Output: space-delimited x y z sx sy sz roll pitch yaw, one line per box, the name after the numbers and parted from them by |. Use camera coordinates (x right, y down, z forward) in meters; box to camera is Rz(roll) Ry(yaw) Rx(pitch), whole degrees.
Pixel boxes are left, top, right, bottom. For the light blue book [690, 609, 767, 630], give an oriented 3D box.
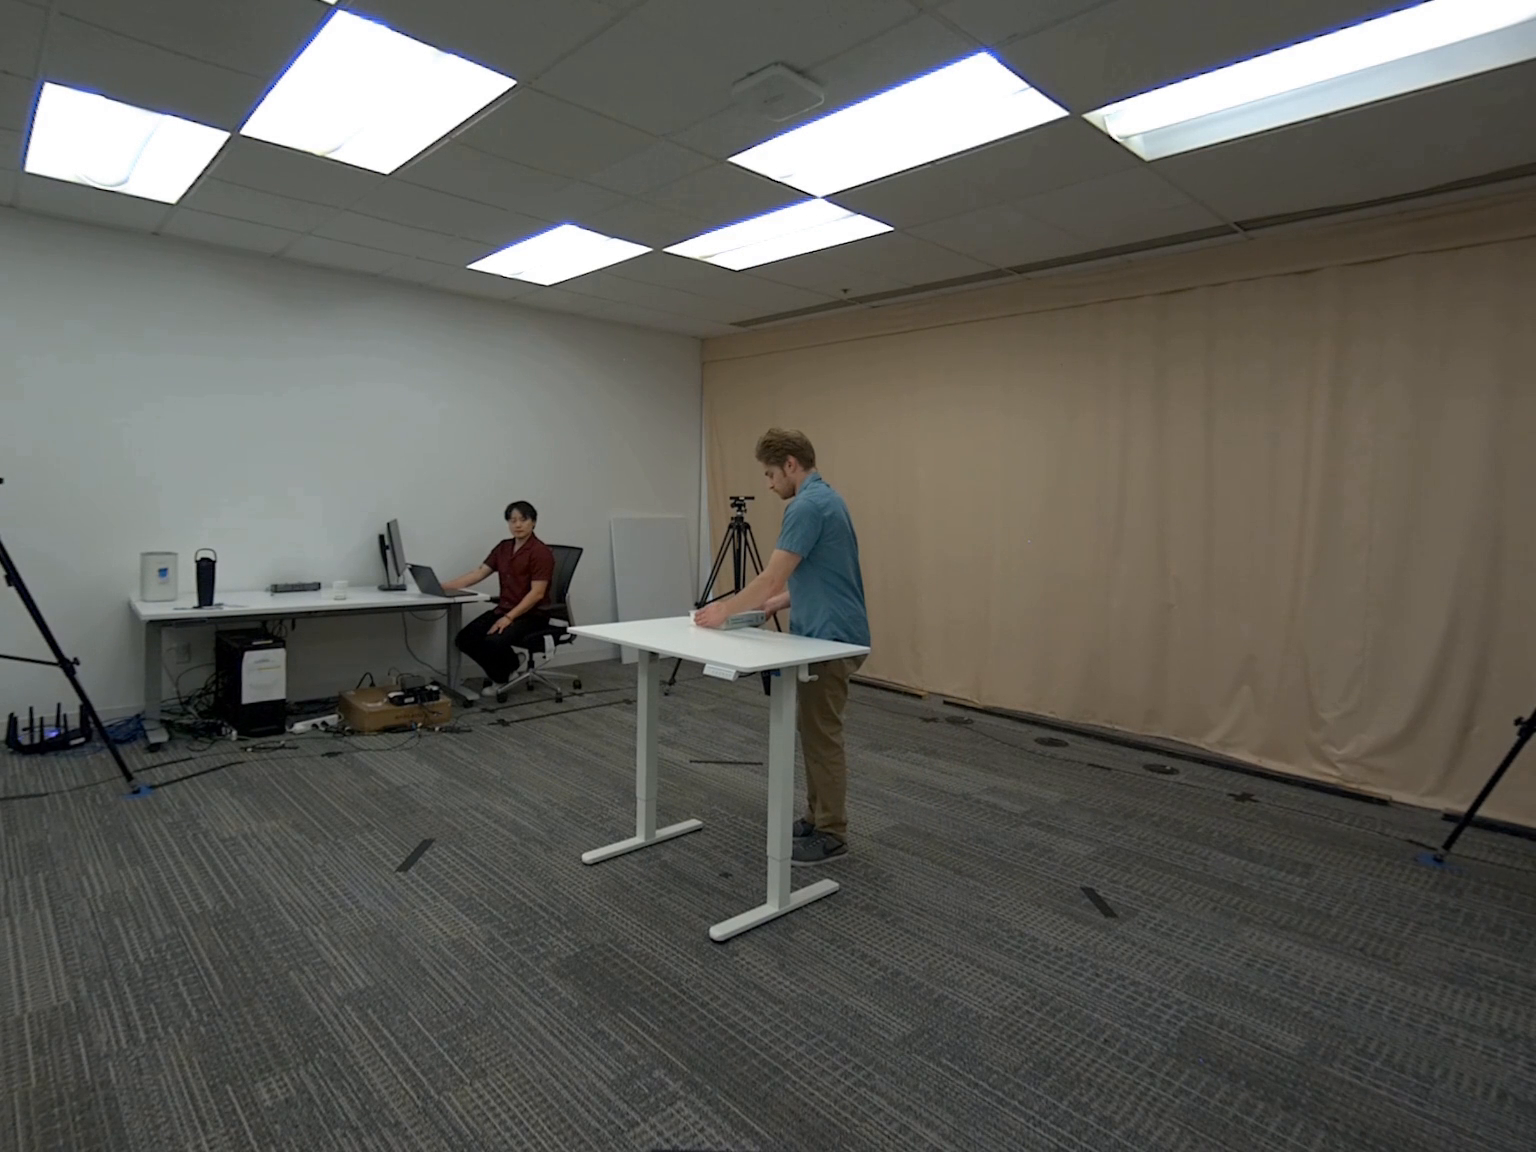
-0.159 0.171 3.415 0.196 0.059 0.255 7 7 40 | light blue book
